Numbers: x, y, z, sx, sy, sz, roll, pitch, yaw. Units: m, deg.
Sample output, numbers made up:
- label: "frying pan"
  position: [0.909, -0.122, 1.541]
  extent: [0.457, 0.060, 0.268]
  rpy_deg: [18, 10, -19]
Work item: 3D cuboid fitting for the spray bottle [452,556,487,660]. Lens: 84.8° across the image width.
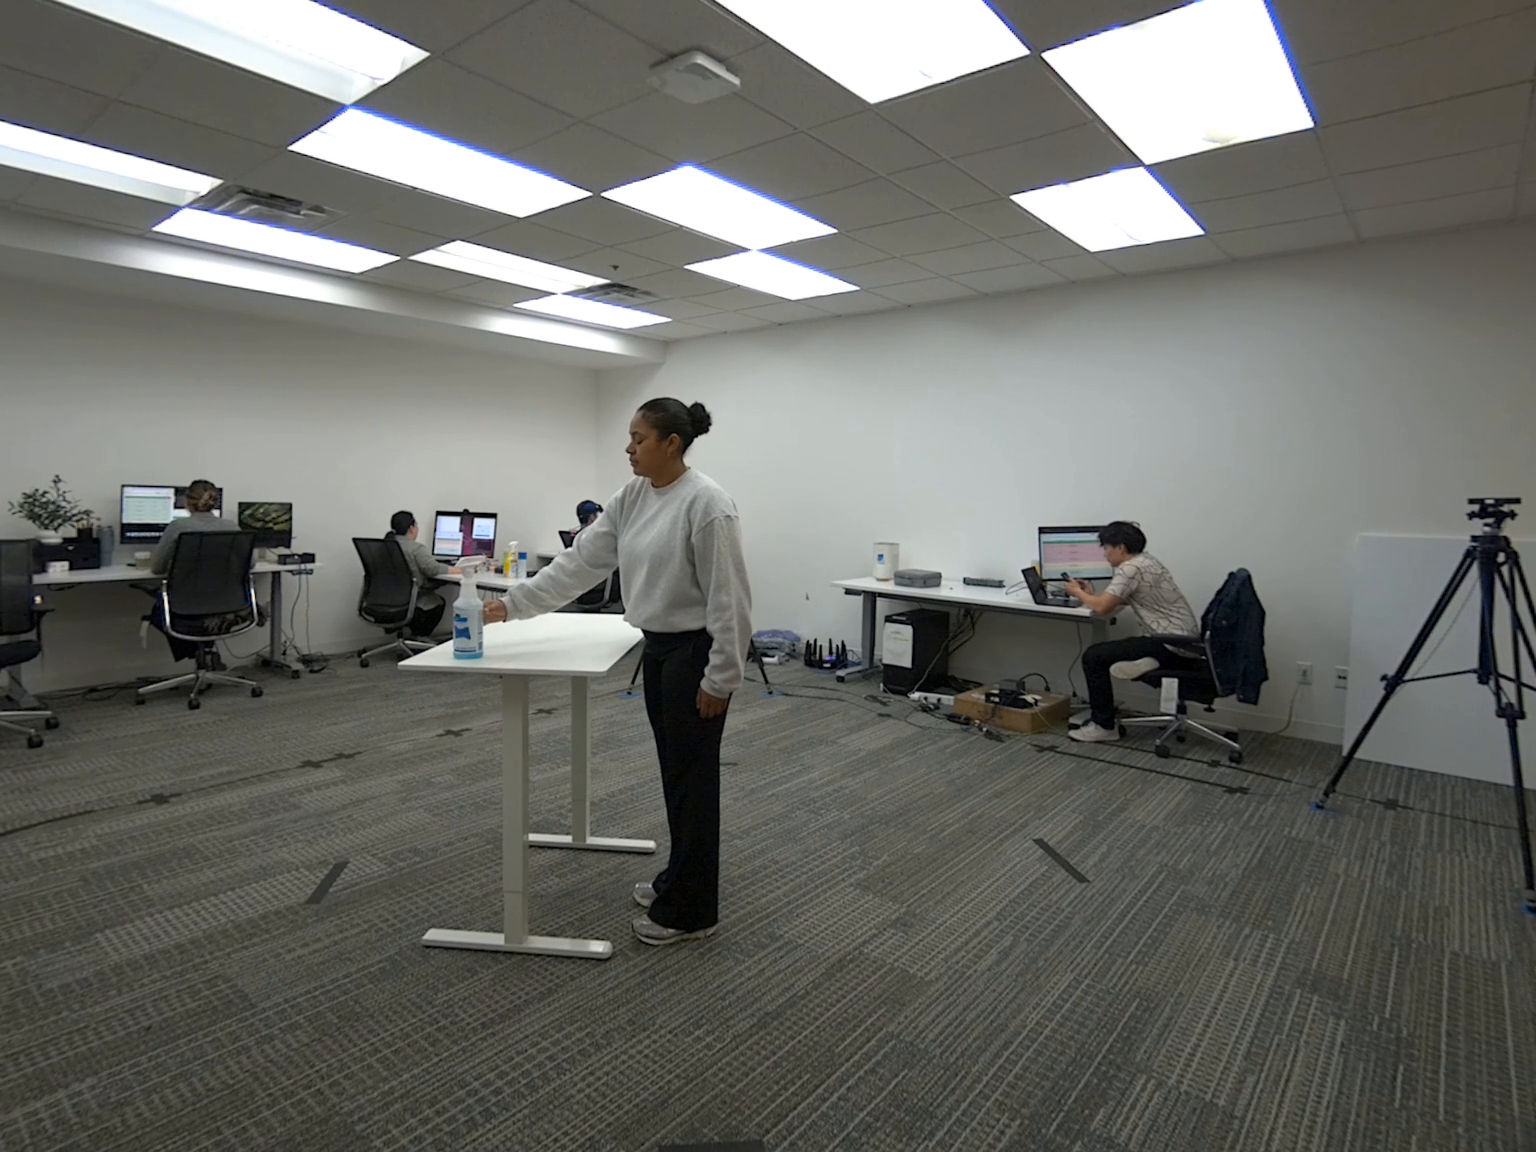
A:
- label: "spray bottle"
  position: [-0.894, 0.090, 2.504]
  extent: [0.089, 0.297, 0.088]
  rpy_deg: [2, 2, -14]
